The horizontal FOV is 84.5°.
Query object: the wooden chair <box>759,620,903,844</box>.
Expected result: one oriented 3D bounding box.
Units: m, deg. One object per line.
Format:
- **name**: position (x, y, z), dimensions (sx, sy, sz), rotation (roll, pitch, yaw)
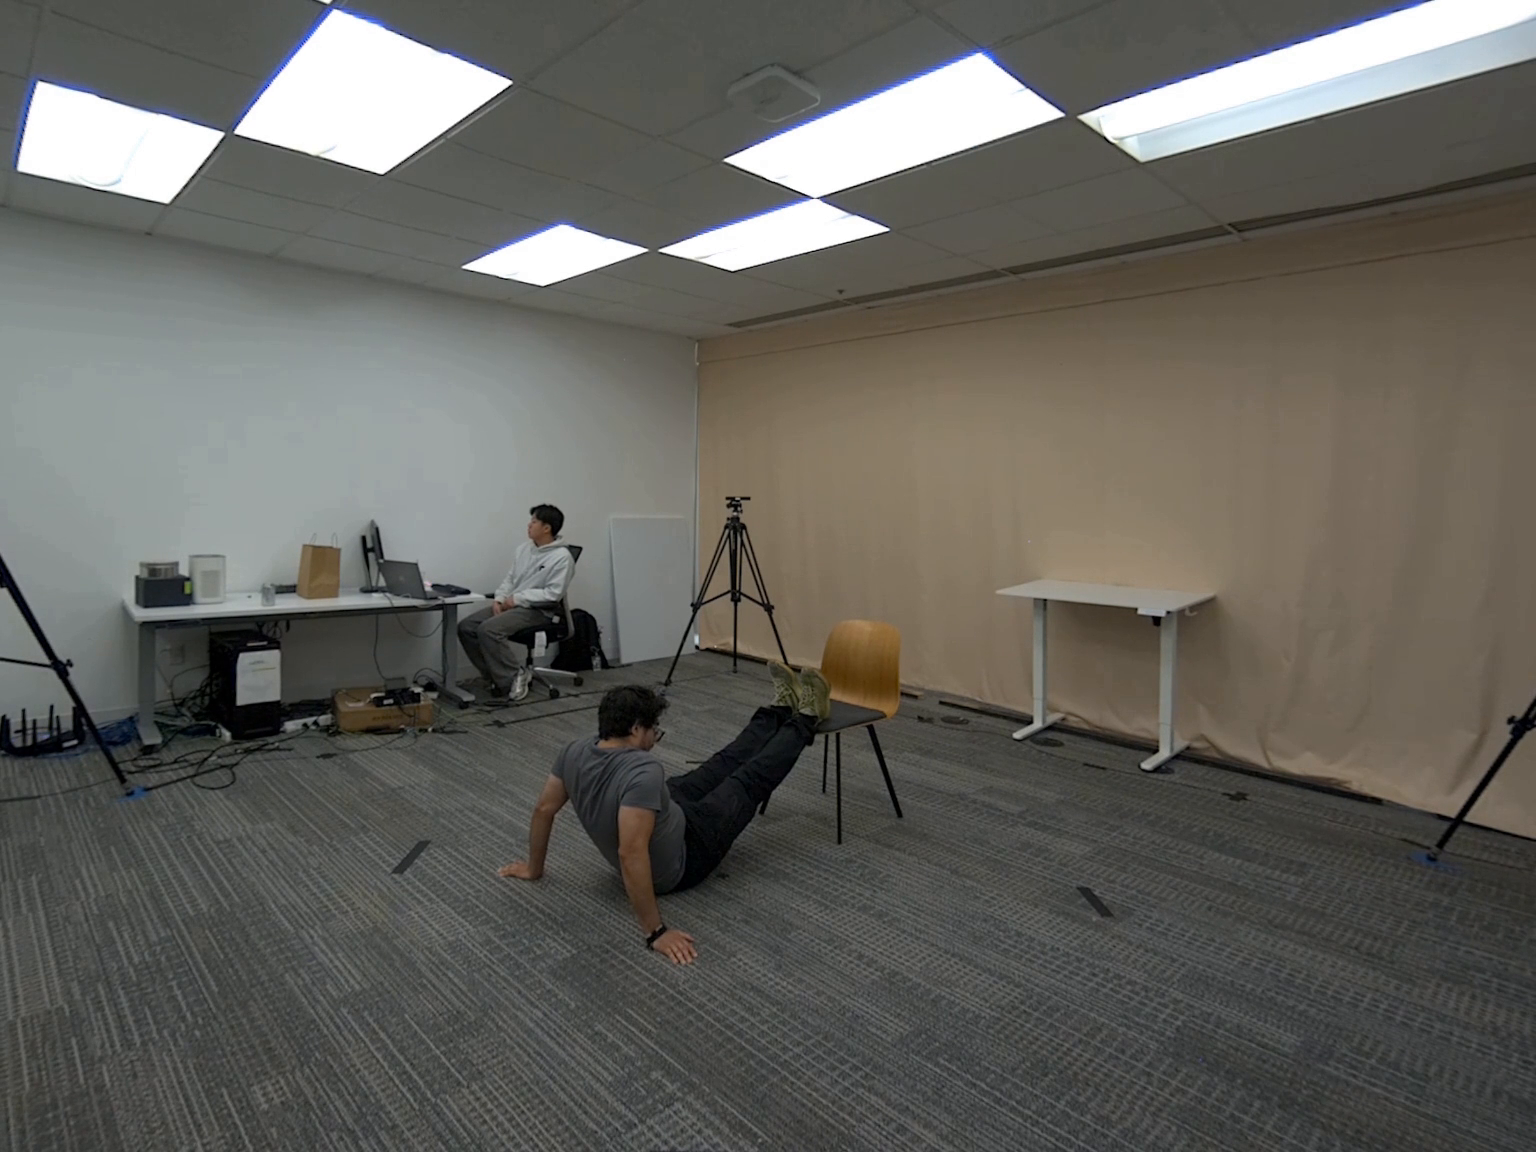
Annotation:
- **wooden chair**: position (0.276, 0.640, 3.701), dimensions (0.490, 0.877, 0.510), rotation (4, 0, 44)
